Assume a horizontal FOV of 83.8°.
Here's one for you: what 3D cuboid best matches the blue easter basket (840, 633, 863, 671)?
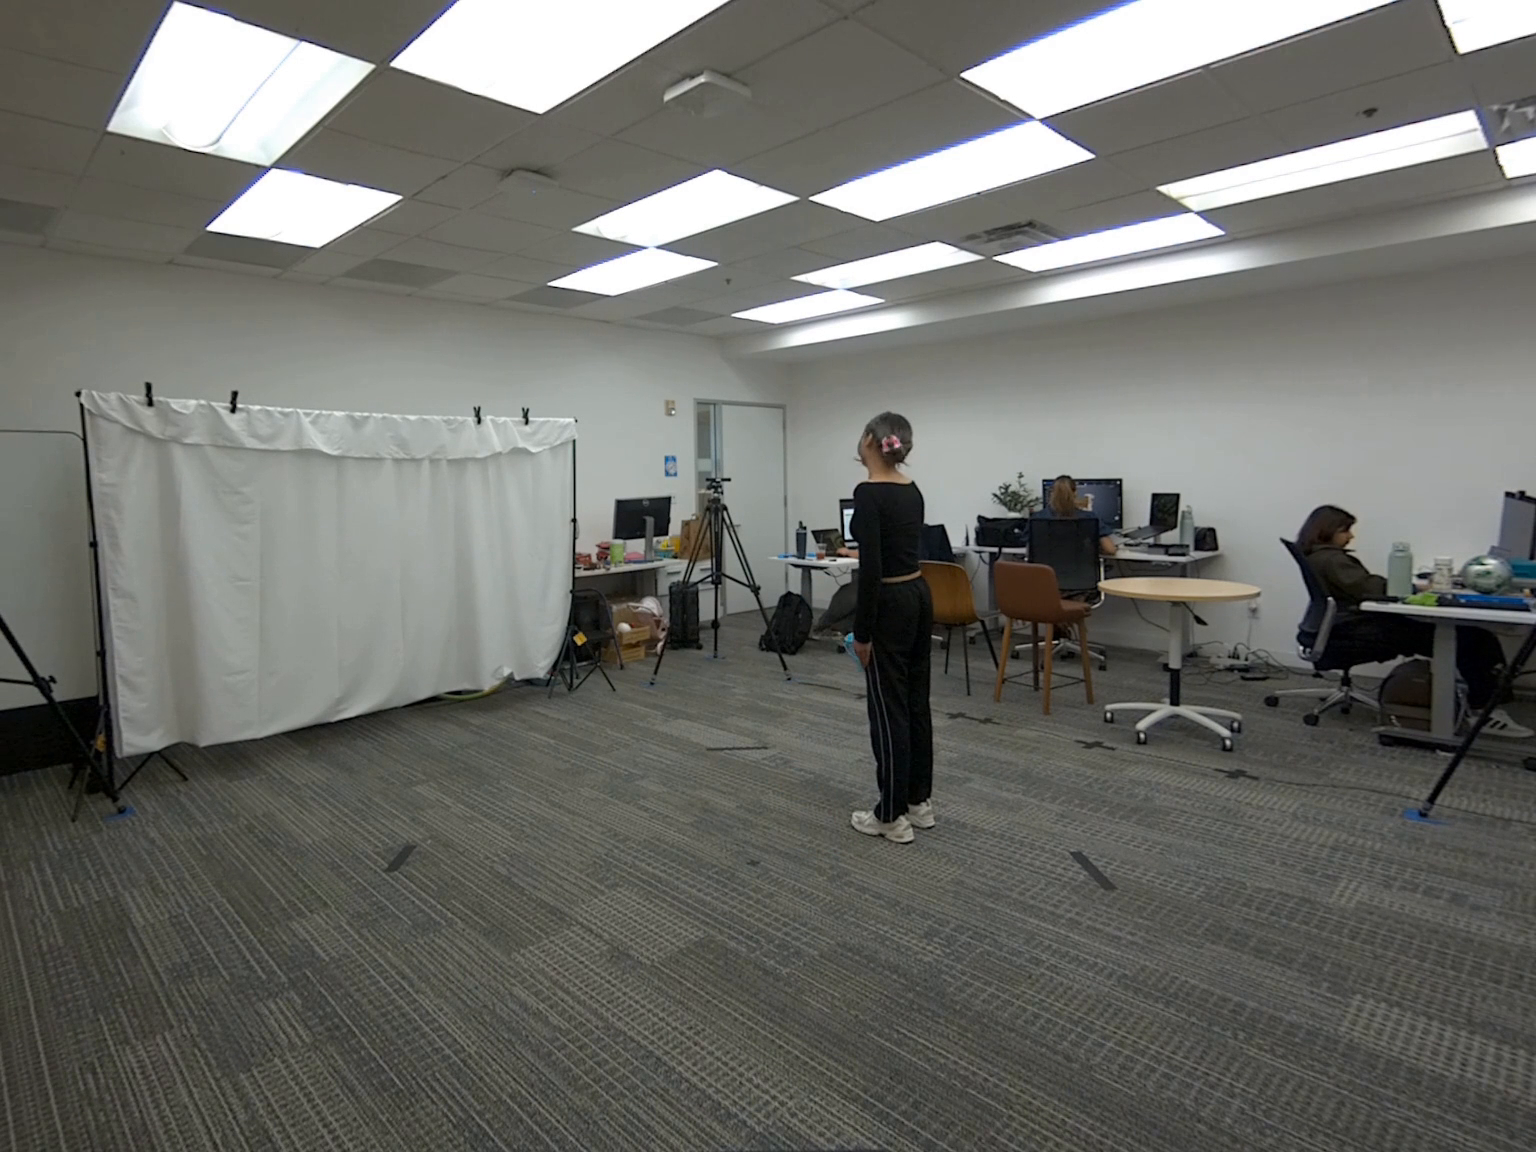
[{"bbox_3d":[0.466,0.322,3.668,0.243,0.155,0.245,-16,5,-1],"label":"blue easter basket"}]
